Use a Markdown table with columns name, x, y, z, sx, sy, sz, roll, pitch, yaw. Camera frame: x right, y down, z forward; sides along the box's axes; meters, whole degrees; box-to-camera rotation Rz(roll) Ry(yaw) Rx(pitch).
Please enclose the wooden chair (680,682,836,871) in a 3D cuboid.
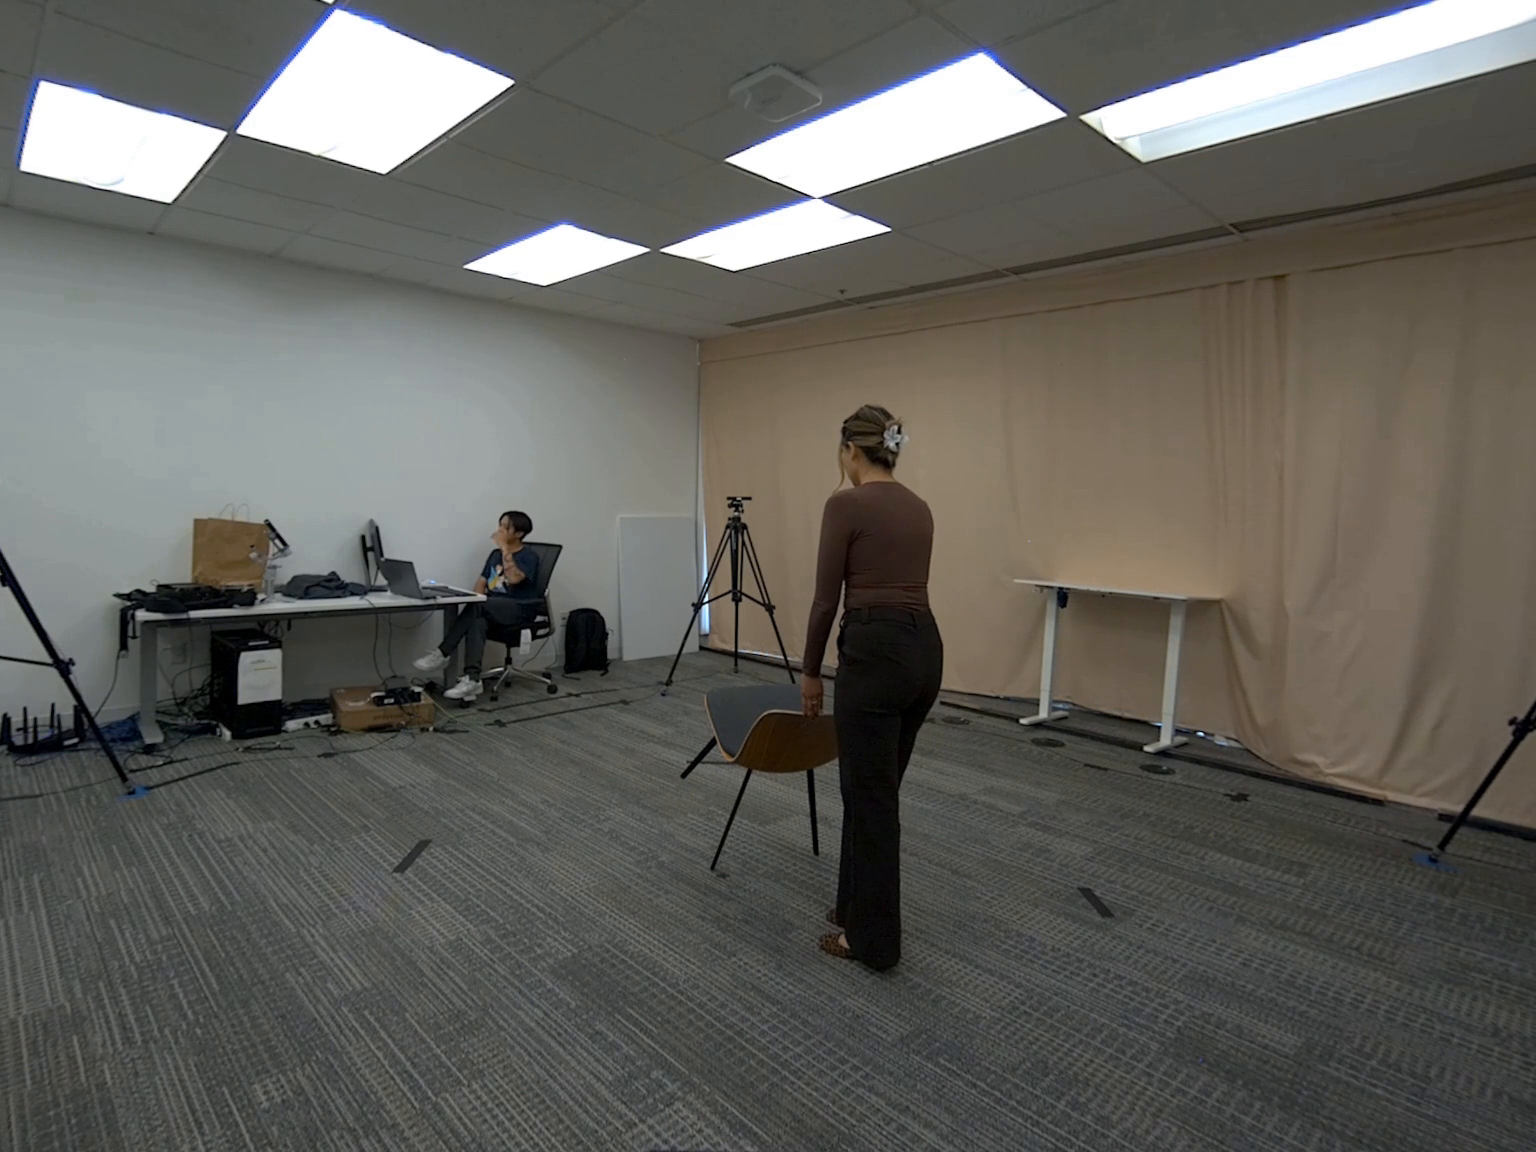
| name | x | y | z | sx | sy | sz | roll | pitch | yaw |
| --- | --- | --- | --- | --- | --- | --- | --- | --- | --- |
| wooden chair | 0.008 | 0.615 | 3.173 | 0.470 | 0.865 | 0.539 | 0 | 40 | -23 |
